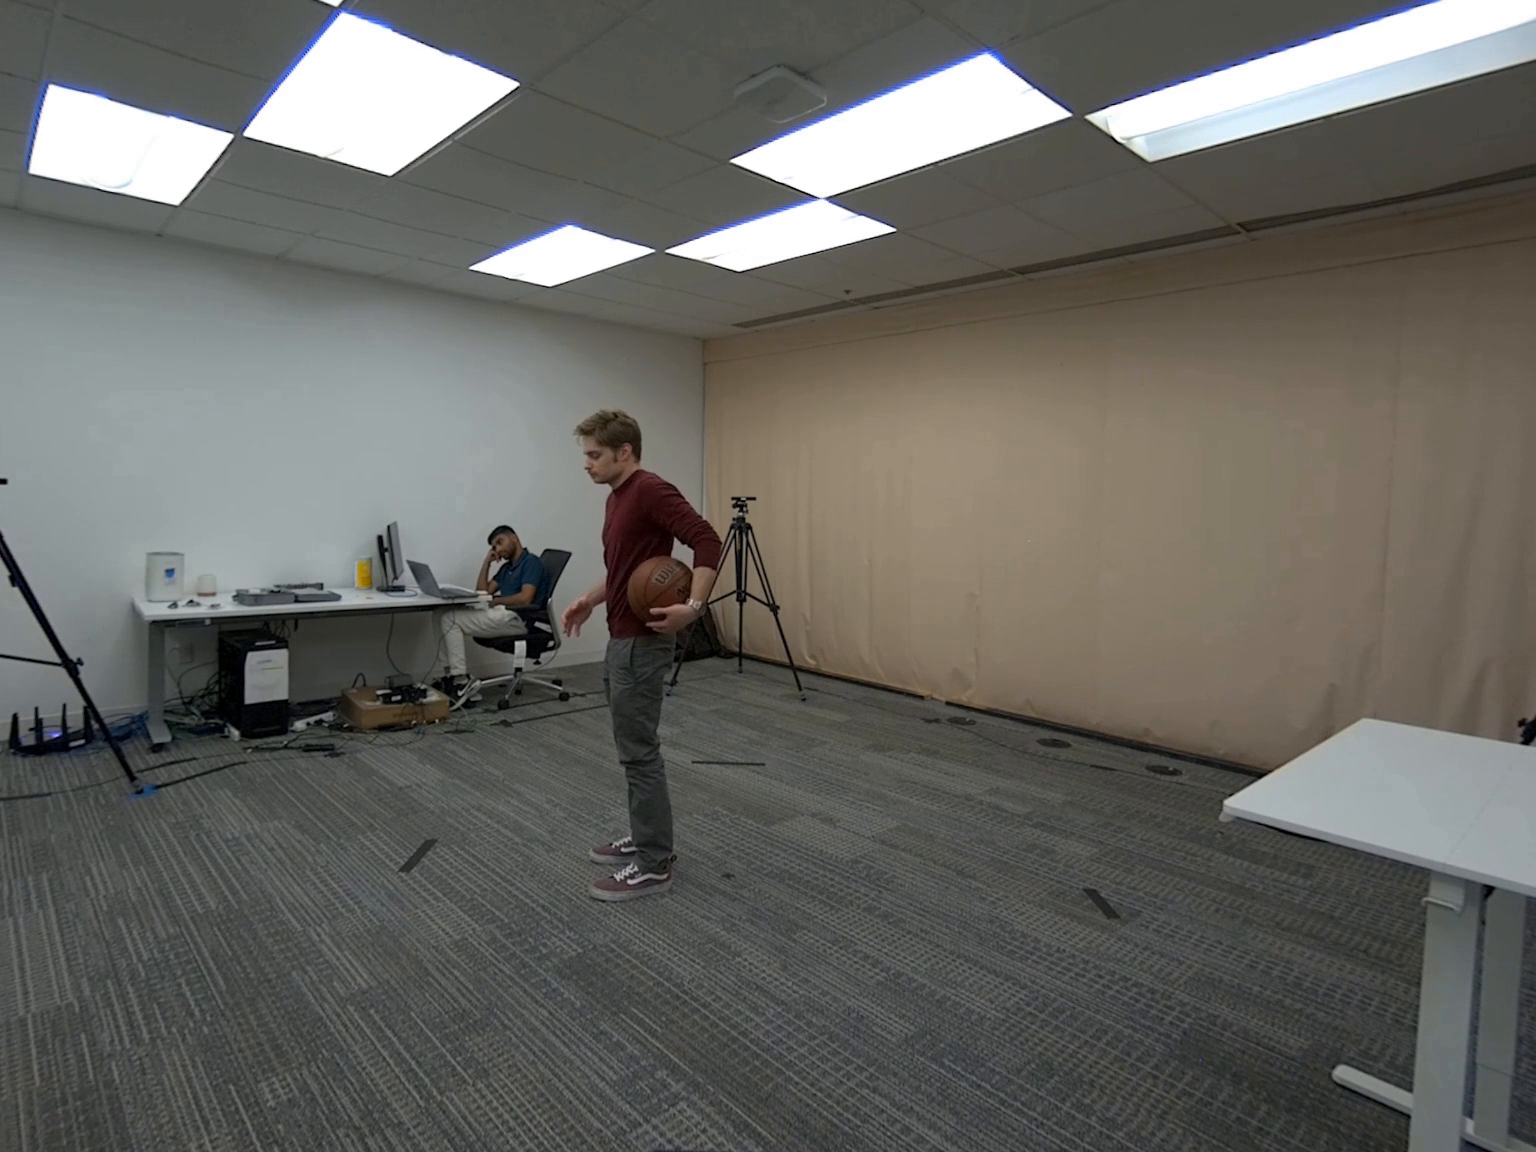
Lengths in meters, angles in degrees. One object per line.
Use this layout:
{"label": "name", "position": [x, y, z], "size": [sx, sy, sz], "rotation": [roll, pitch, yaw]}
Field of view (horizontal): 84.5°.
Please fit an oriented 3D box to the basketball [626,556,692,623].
{"label": "basketball", "position": [-0.364, 0.054, 2.834], "size": [0.236, 0.235, 0.237], "rotation": [1, 4, -1]}
